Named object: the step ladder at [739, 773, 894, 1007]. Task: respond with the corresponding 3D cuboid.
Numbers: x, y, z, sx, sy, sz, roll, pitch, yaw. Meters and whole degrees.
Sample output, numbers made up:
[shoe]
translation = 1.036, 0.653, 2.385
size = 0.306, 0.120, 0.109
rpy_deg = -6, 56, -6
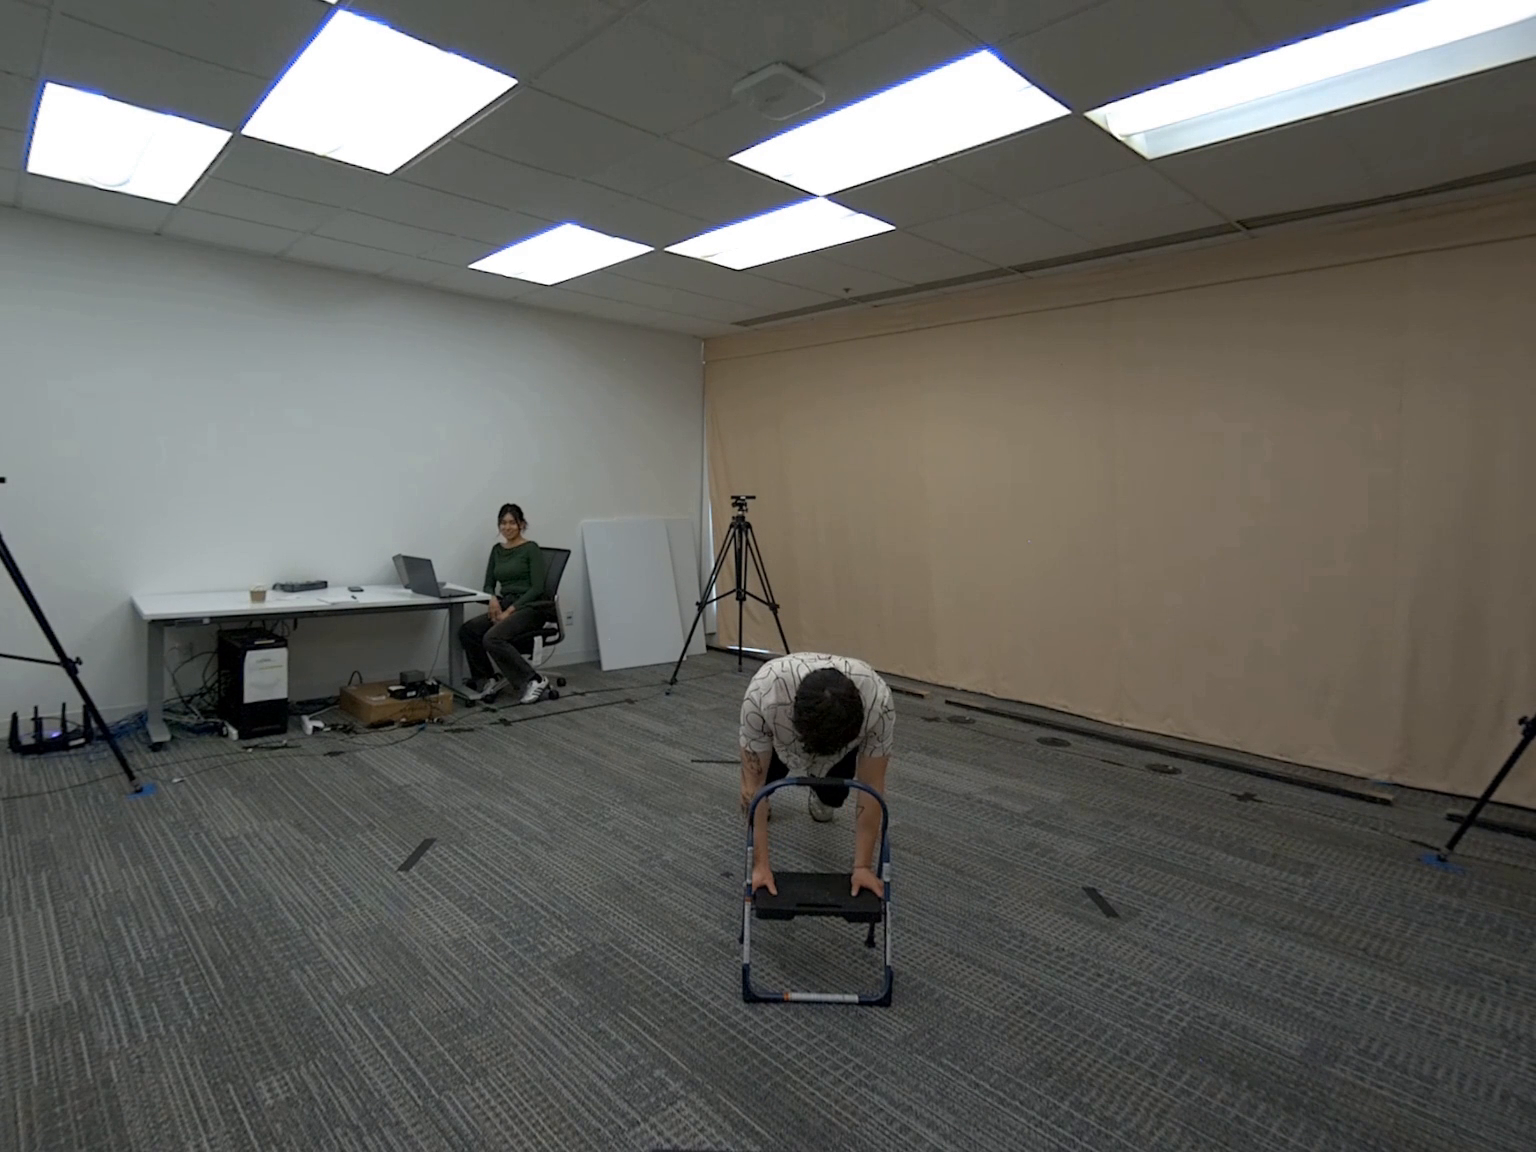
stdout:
[step ladder]
translation = 0.131, 0.869, 2.464
size = 0.430, 0.605, 0.350
rpy_deg = 1, 3, -2
